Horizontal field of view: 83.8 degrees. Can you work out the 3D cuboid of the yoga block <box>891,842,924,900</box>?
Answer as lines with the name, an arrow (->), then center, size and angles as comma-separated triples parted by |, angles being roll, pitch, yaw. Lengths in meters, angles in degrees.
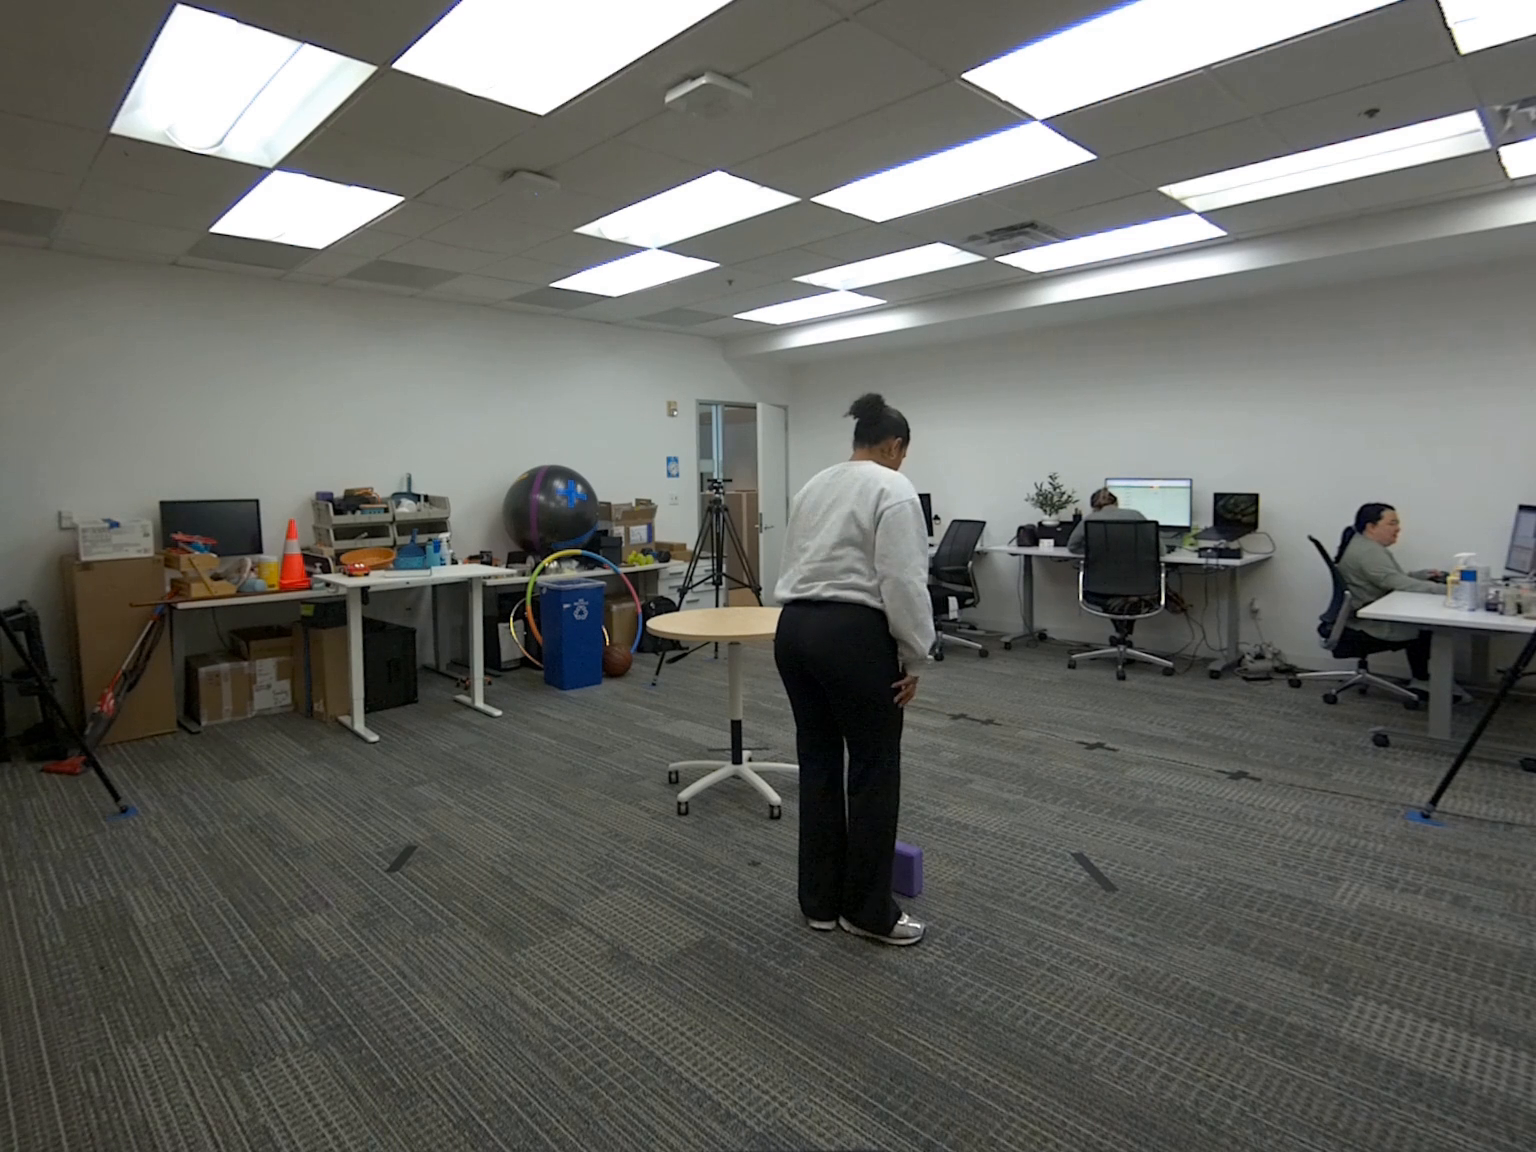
yoga block -> 0.413, 0.975, 2.915 | 0.236, 0.148, 0.074 | 6, 6, 40
